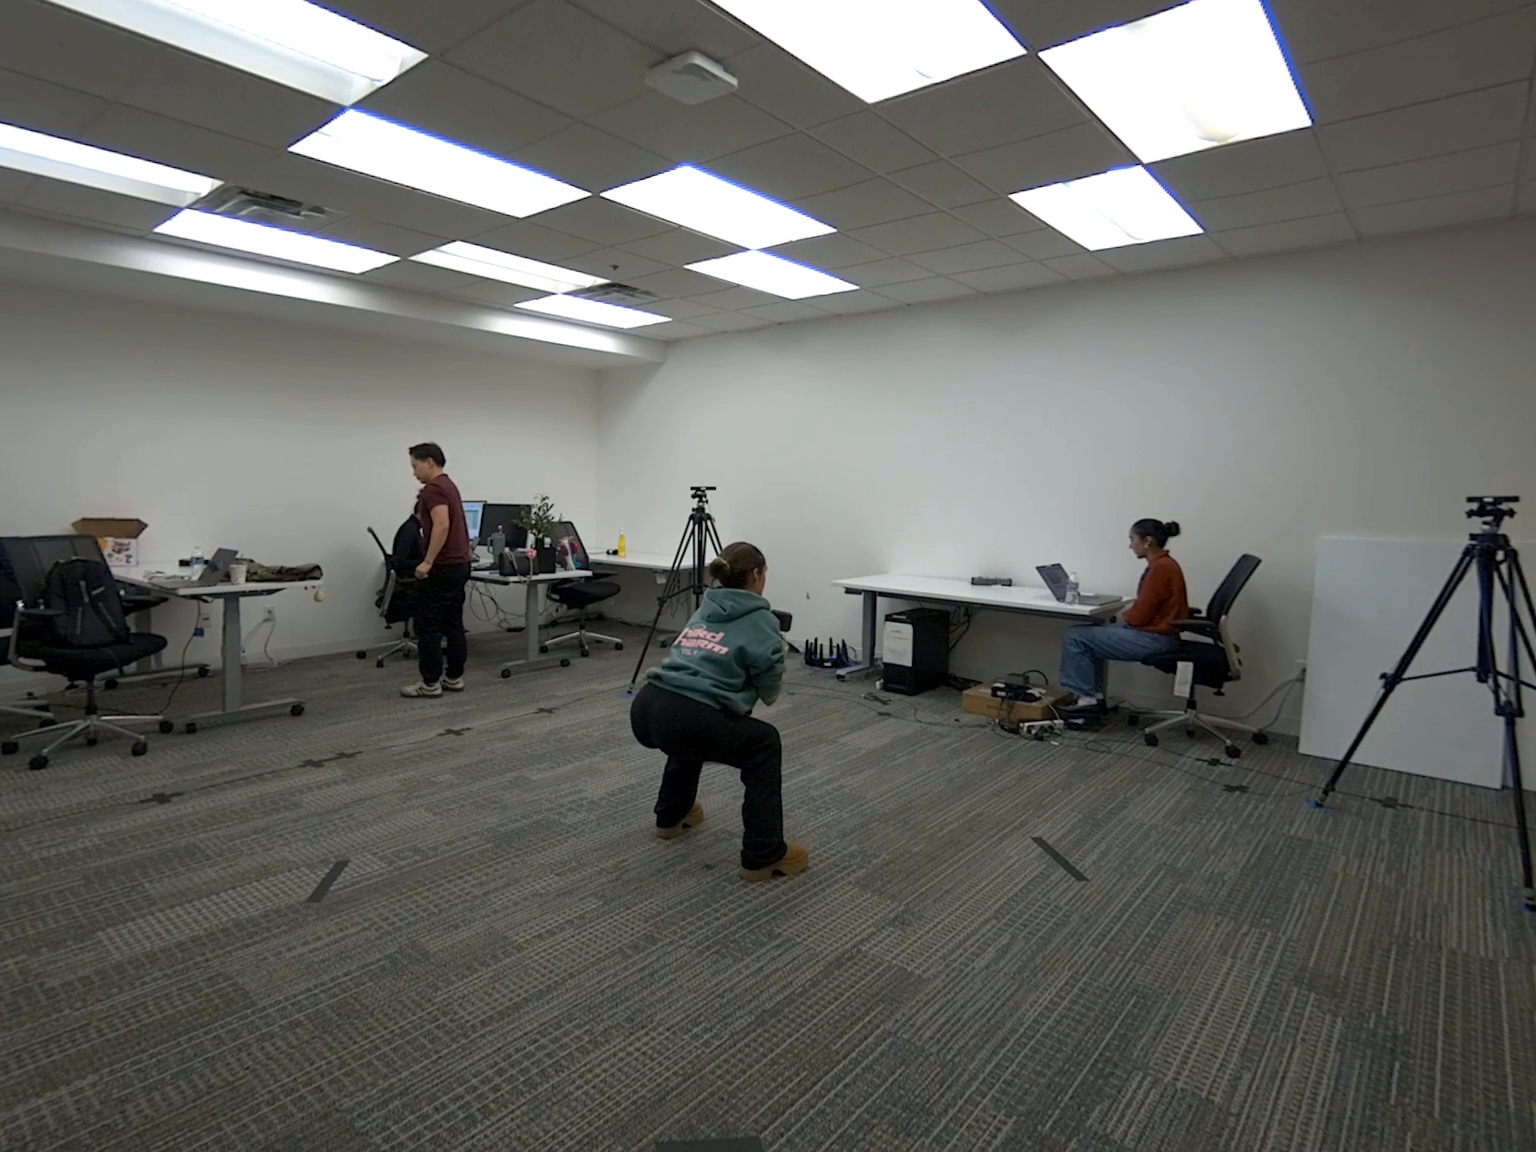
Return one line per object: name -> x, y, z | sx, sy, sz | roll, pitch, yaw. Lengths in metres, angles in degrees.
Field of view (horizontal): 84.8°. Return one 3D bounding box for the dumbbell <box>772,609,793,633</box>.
dumbbell -> 0.006, 0.266, 3.408 | 0.123, 0.295, 0.108 | 11, -5, 0
